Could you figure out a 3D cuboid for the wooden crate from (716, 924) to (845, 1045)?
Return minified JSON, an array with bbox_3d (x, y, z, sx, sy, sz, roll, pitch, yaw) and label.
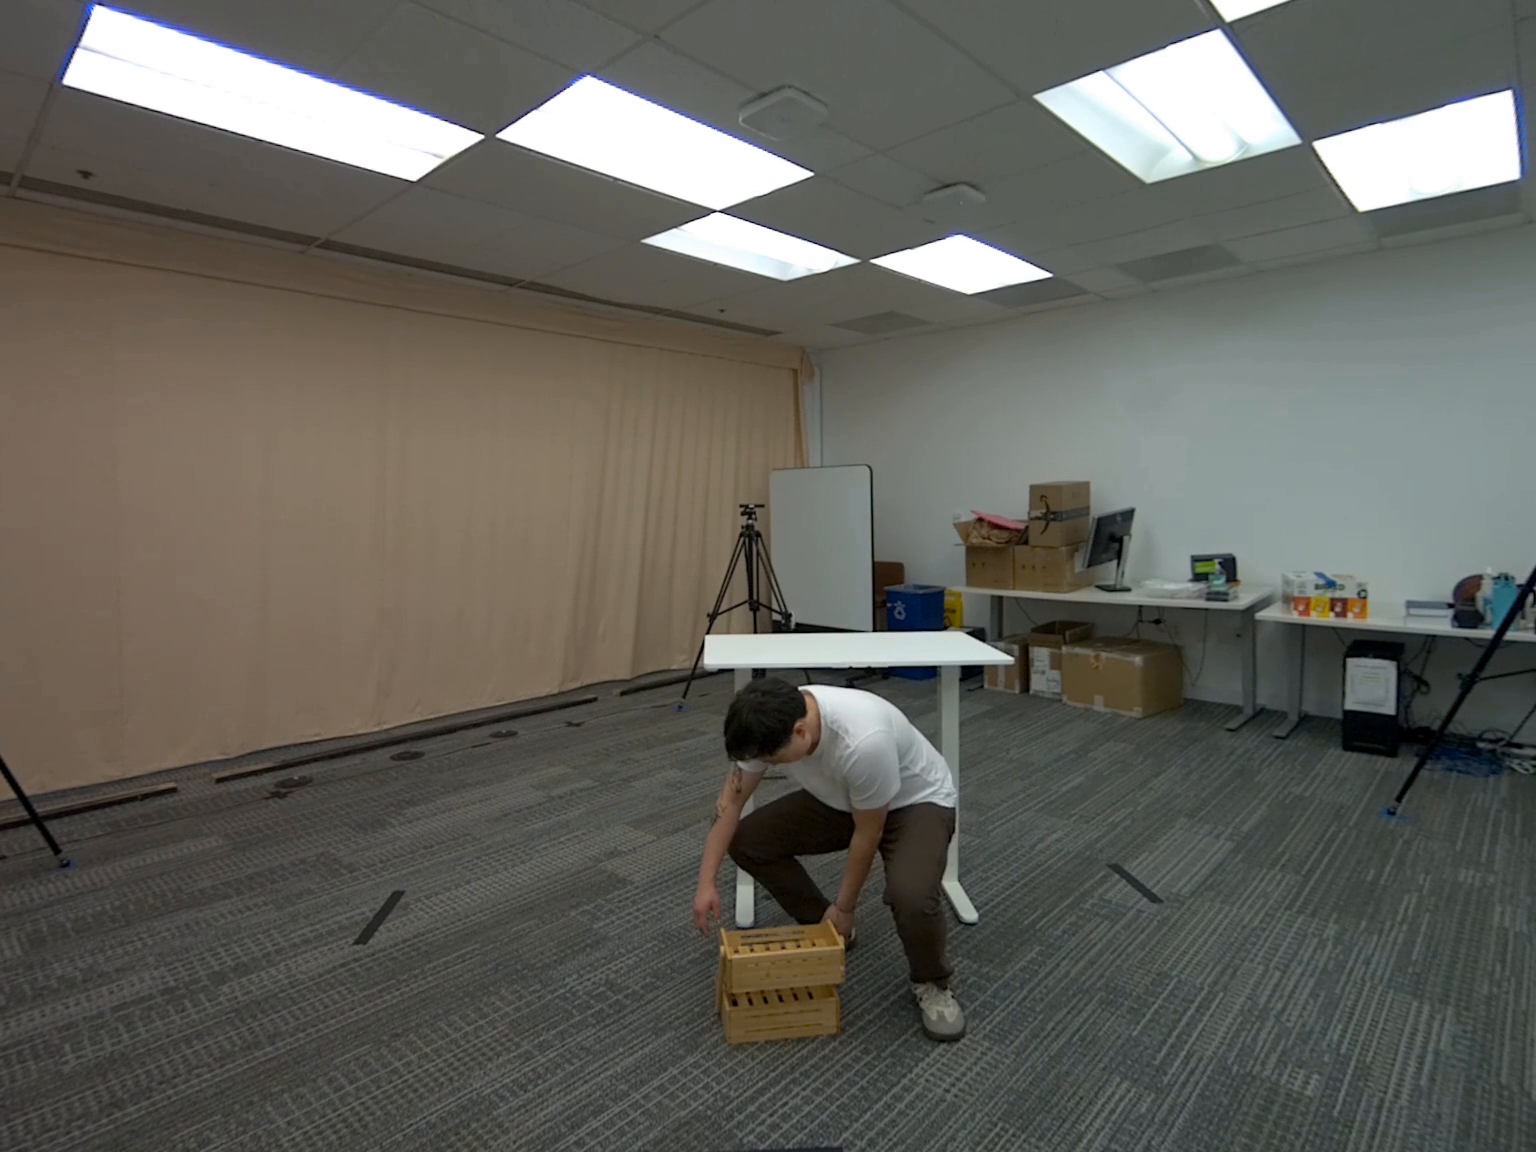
[{"bbox_3d":[0.027,1.067,2.289,0.321,0.272,0.306,-3,6,-9],"label":"wooden crate"}]
